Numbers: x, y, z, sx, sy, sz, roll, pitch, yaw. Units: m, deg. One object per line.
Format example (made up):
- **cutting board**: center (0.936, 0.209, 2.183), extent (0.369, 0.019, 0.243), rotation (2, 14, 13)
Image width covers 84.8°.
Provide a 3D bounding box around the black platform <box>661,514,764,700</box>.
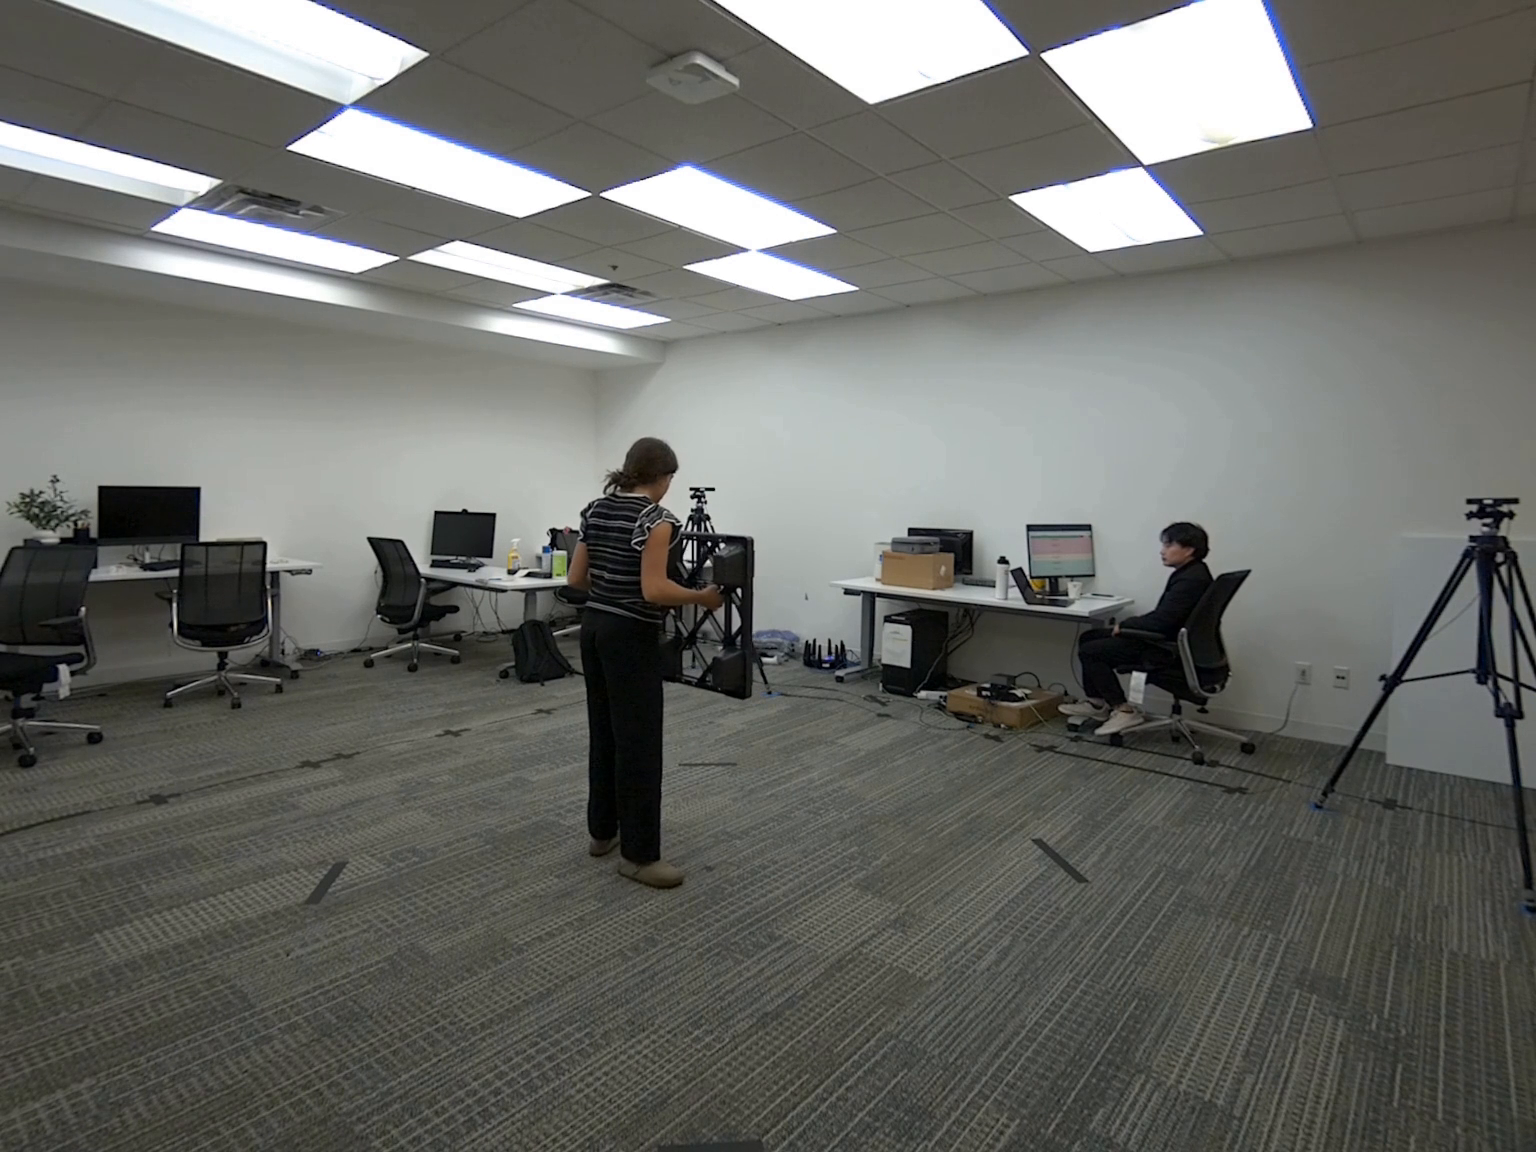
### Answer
- **black platform**: center (-0.416, 0.119, 3.299), extent (0.833, 0.602, 0.139), rotation (6, 8, 38)
